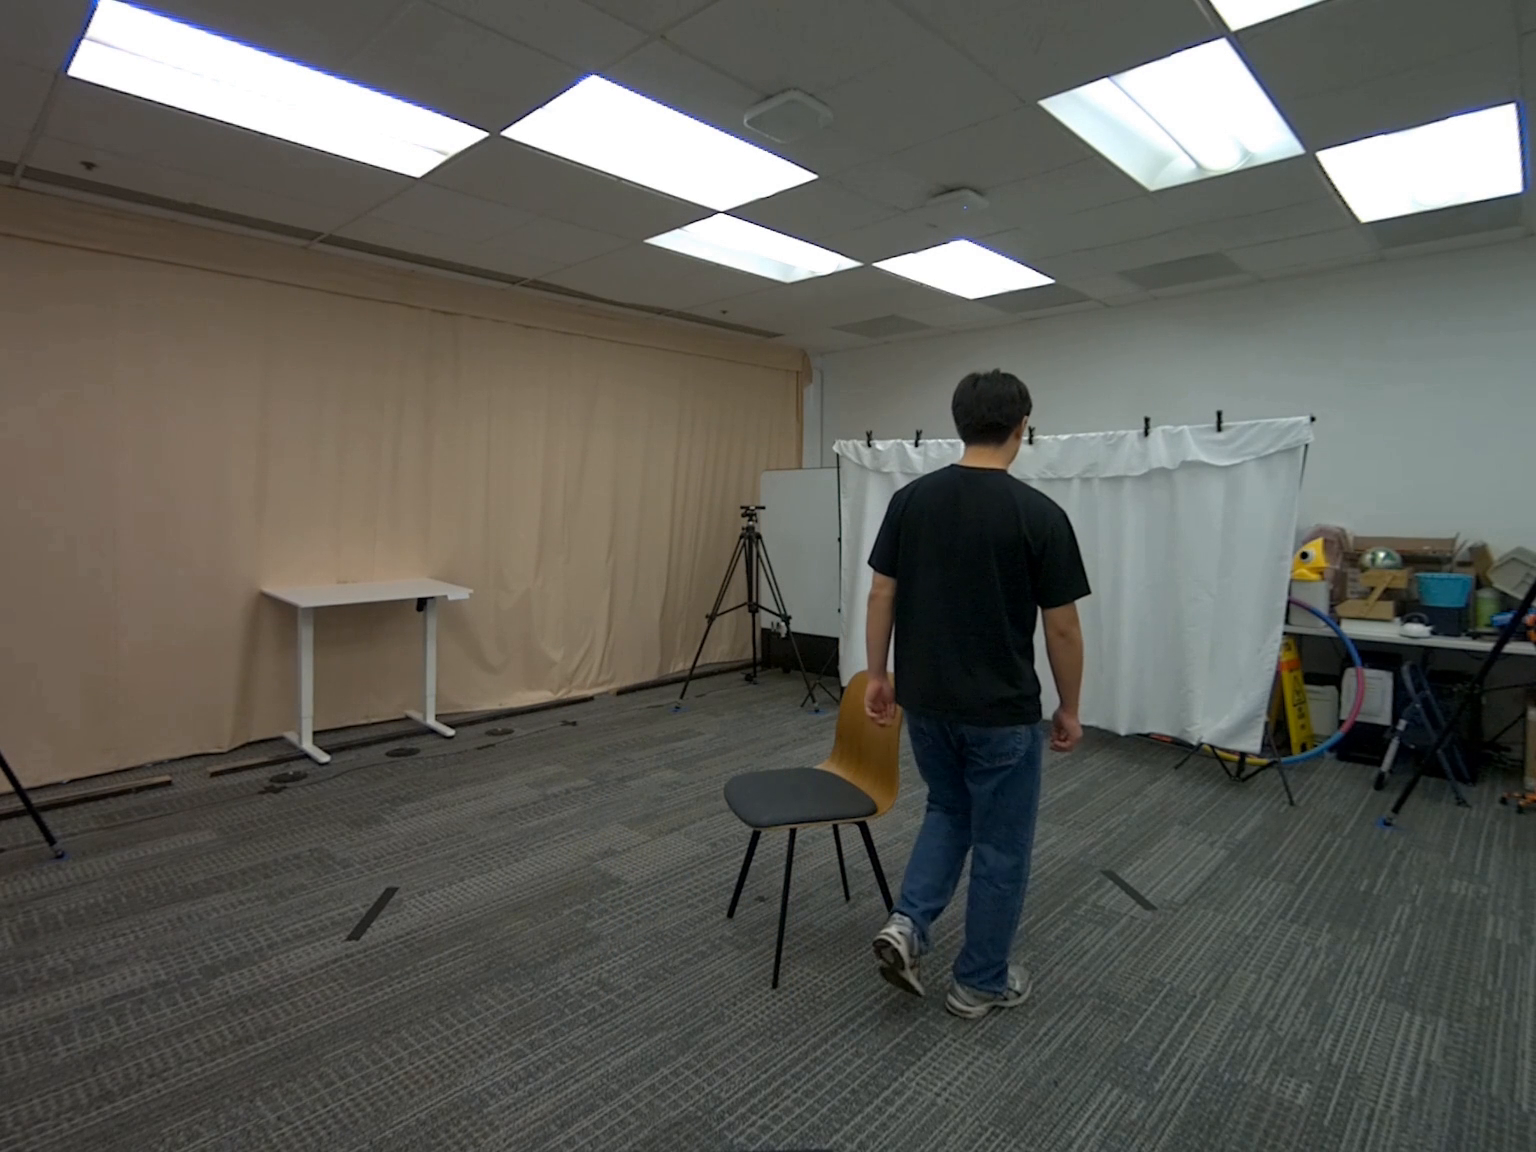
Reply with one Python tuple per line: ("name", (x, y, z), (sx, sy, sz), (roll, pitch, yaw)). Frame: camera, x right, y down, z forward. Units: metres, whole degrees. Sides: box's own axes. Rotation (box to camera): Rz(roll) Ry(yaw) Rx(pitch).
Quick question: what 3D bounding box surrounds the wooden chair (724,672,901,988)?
("wooden chair", (0.148, 0.744, 2.672), (0.513, 0.876, 0.488), (3, 3, -19))
